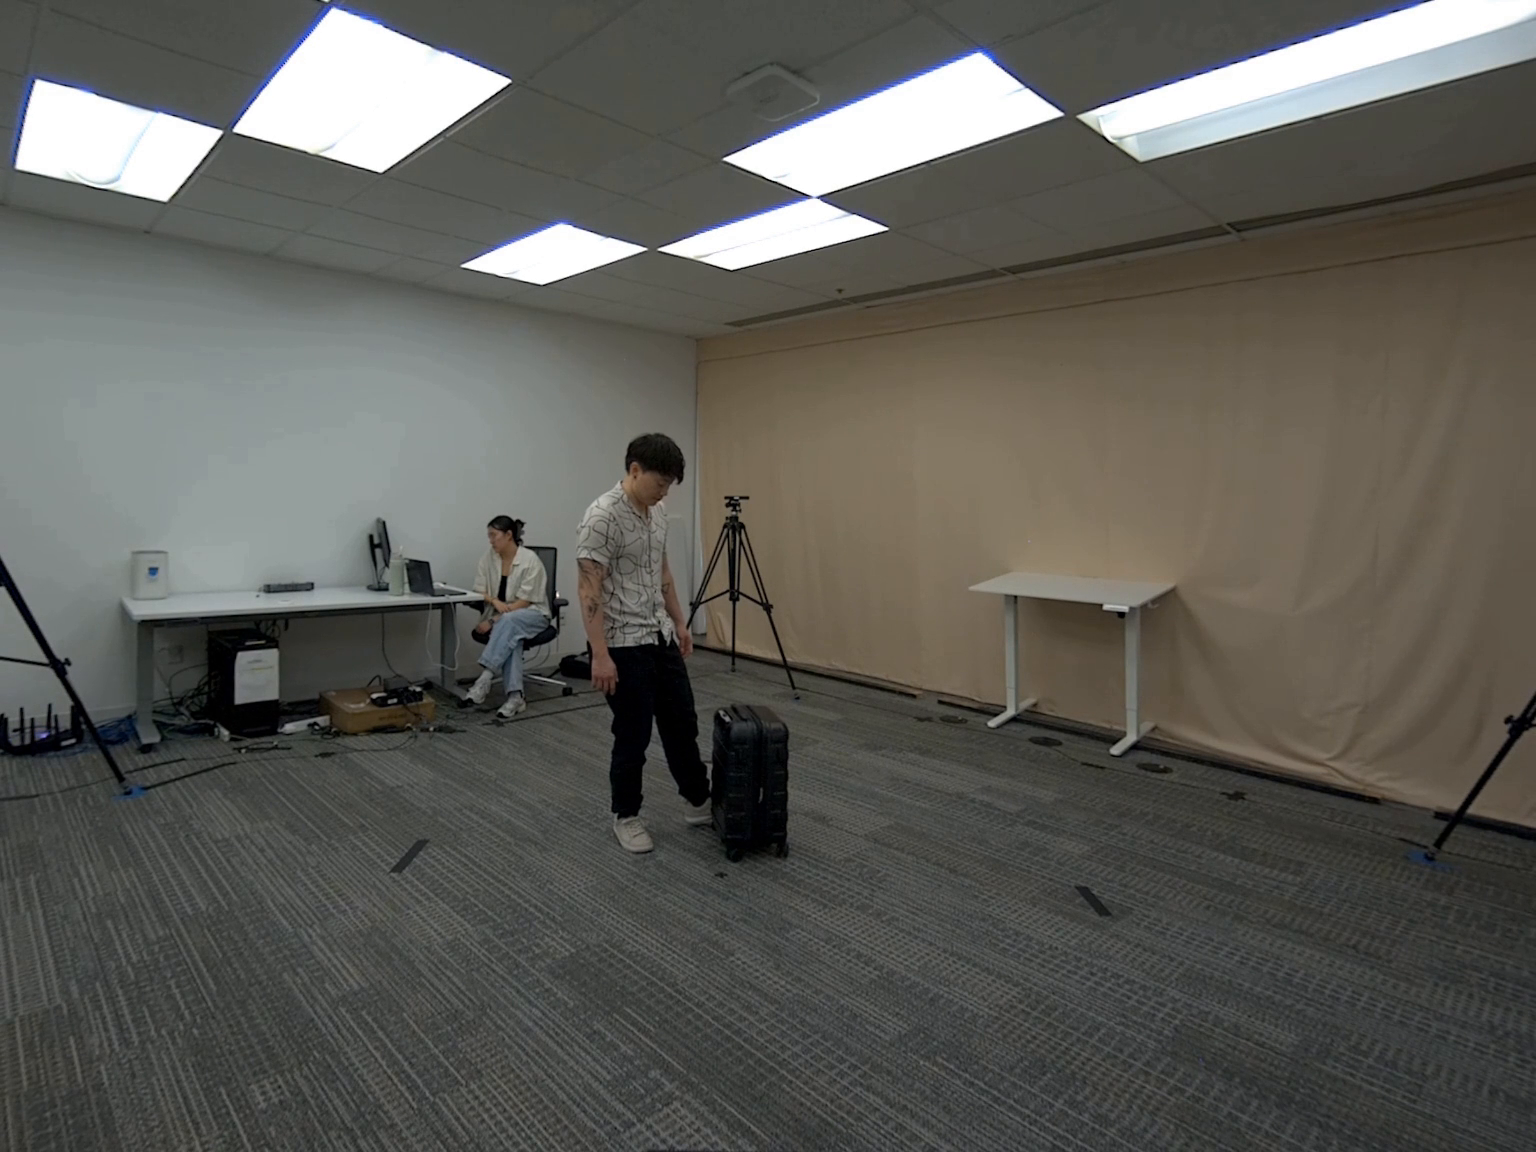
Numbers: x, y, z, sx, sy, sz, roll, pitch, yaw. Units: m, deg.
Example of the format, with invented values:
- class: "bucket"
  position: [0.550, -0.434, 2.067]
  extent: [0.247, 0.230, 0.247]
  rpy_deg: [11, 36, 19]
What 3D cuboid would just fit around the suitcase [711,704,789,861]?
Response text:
- class: "suitcase"
  position: [-0.088, 0.800, 3.371]
  extent: [0.245, 0.548, 0.380]
  rpy_deg: [1, 2, -15]
